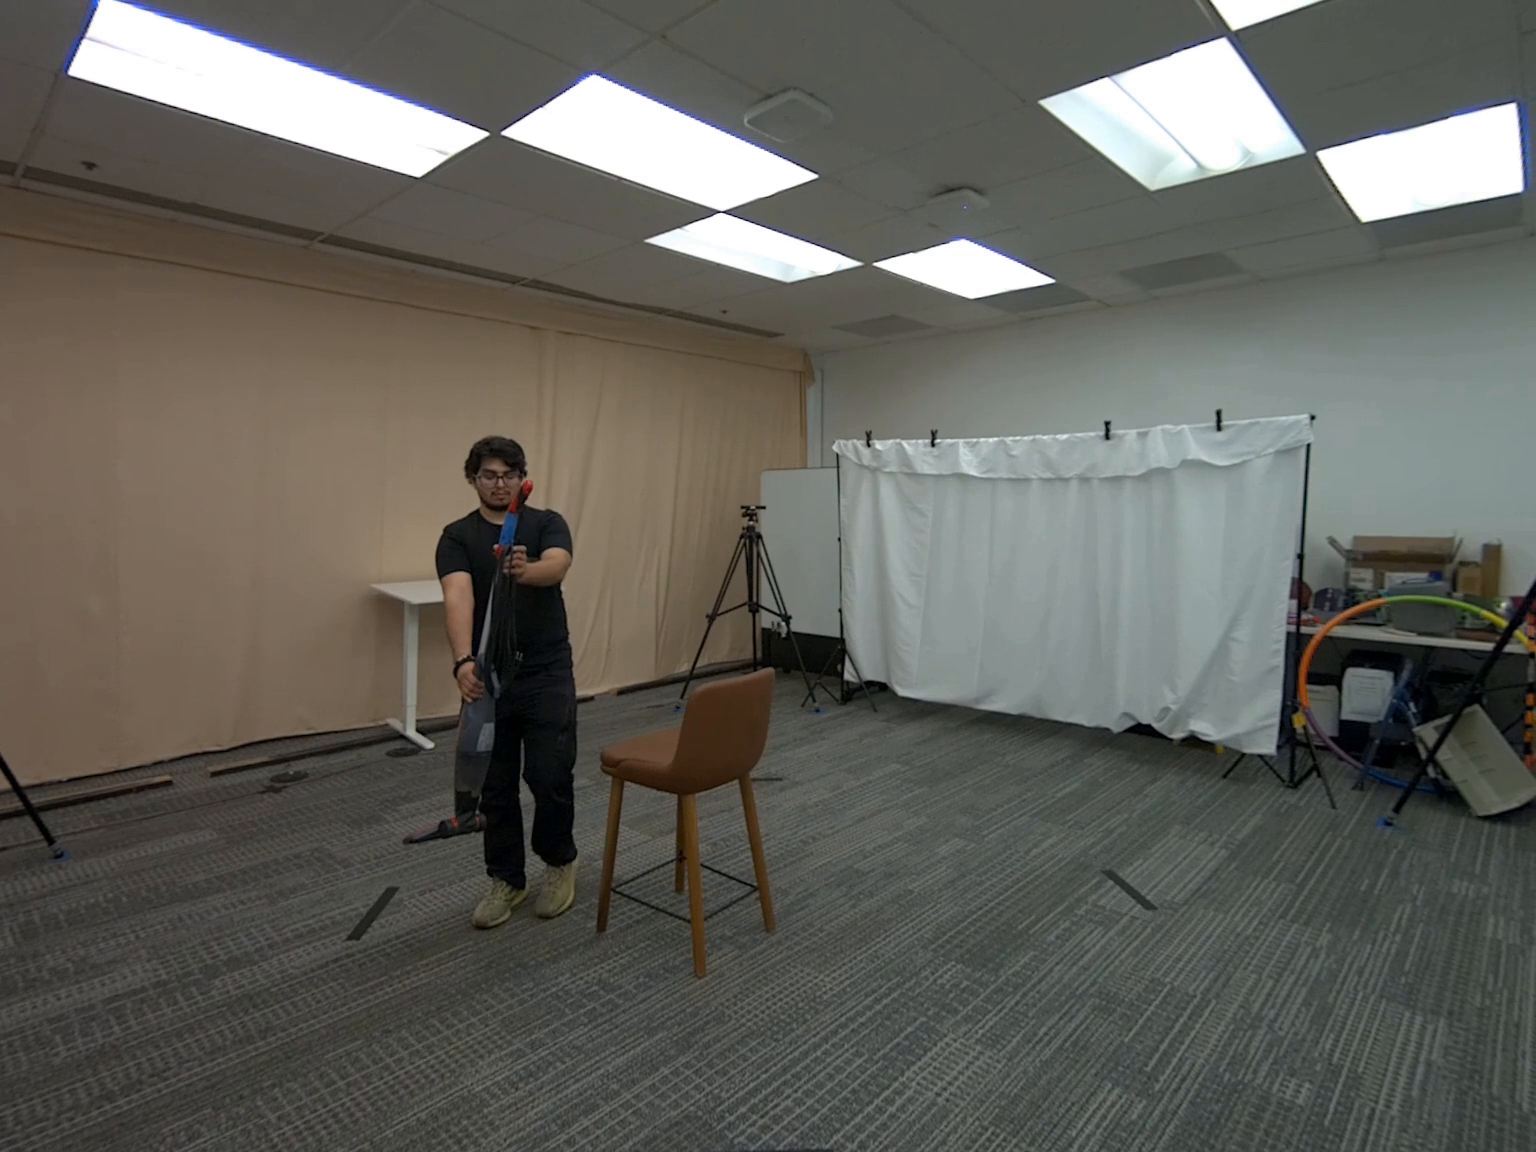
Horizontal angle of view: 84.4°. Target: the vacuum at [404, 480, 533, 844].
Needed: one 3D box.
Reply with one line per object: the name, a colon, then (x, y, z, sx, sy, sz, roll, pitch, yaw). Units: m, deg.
vacuum: (-0.796, 0.241, 2.423, 0.149, 1.047, 0.244, 19, 7, 42)
